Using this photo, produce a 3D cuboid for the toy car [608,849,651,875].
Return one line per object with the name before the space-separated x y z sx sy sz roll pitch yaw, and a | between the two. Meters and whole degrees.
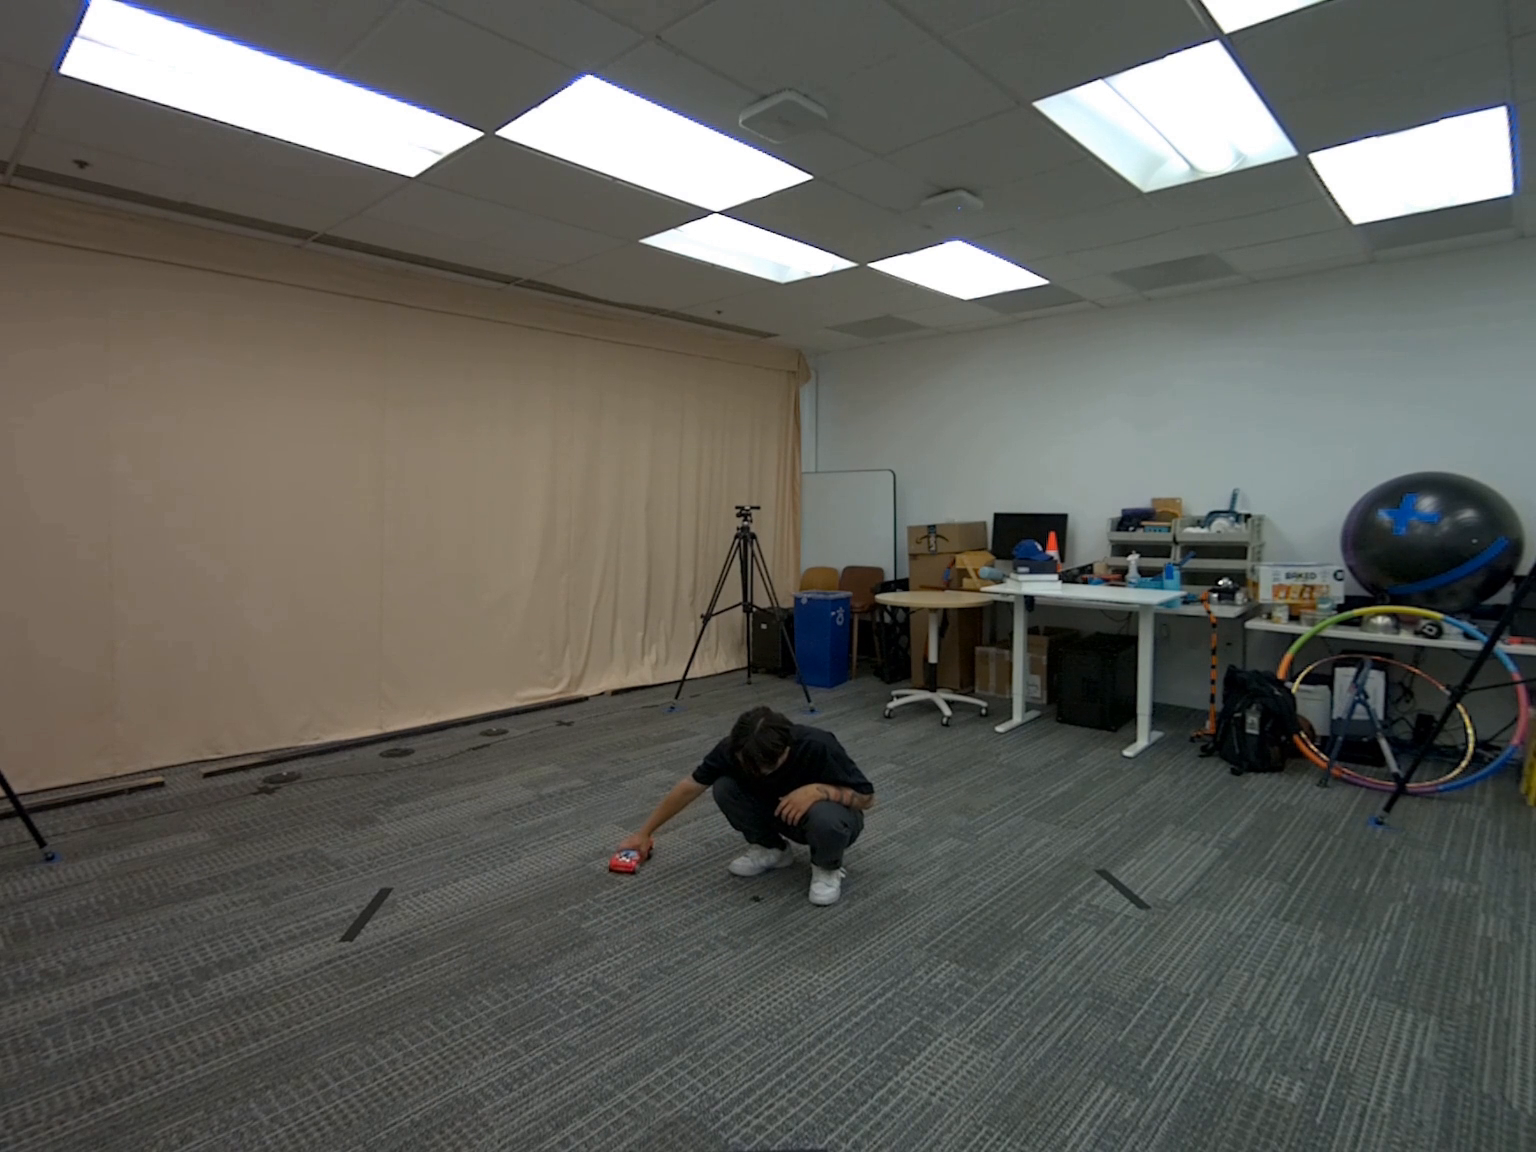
toy car | -0.525 1.094 3.307 0.132 0.082 0.253 -1 15 13
